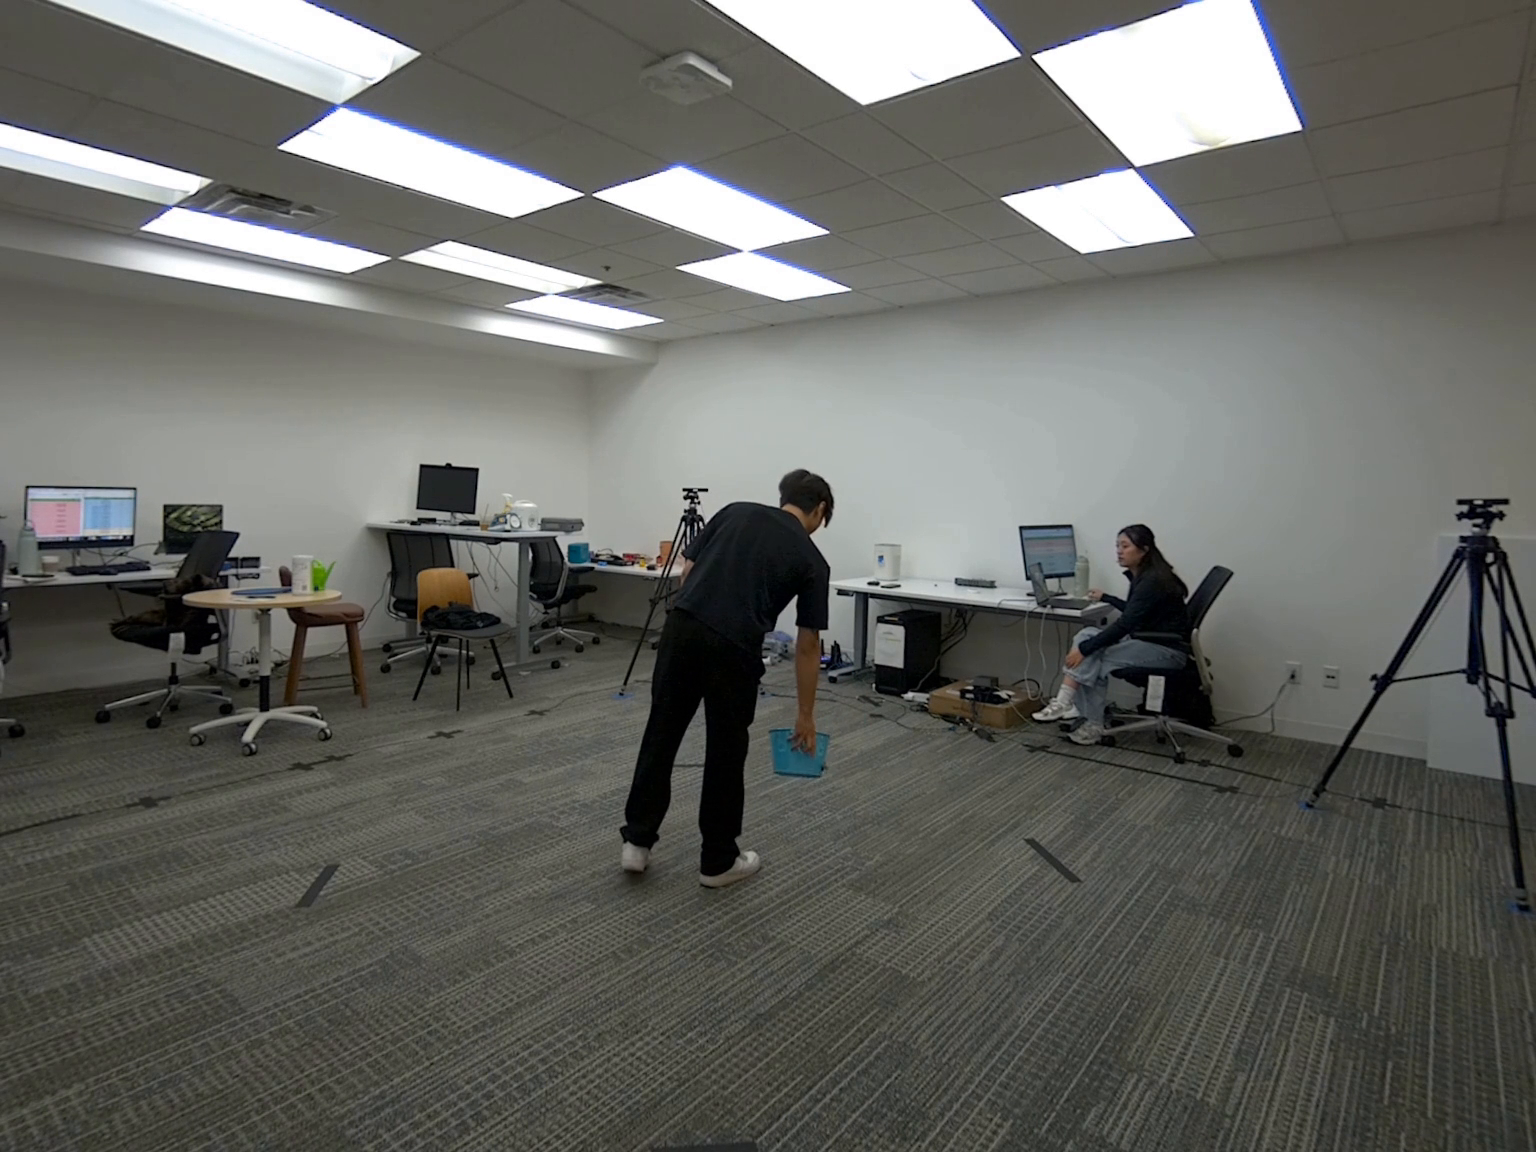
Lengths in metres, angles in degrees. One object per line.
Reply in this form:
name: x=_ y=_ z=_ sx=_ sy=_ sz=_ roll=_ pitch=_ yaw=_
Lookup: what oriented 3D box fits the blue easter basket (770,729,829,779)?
blue easter basket: x=0.113 y=0.669 z=3.186 sx=0.244 sy=0.158 sz=0.239 roll=3 pitch=-19 yaw=-1
